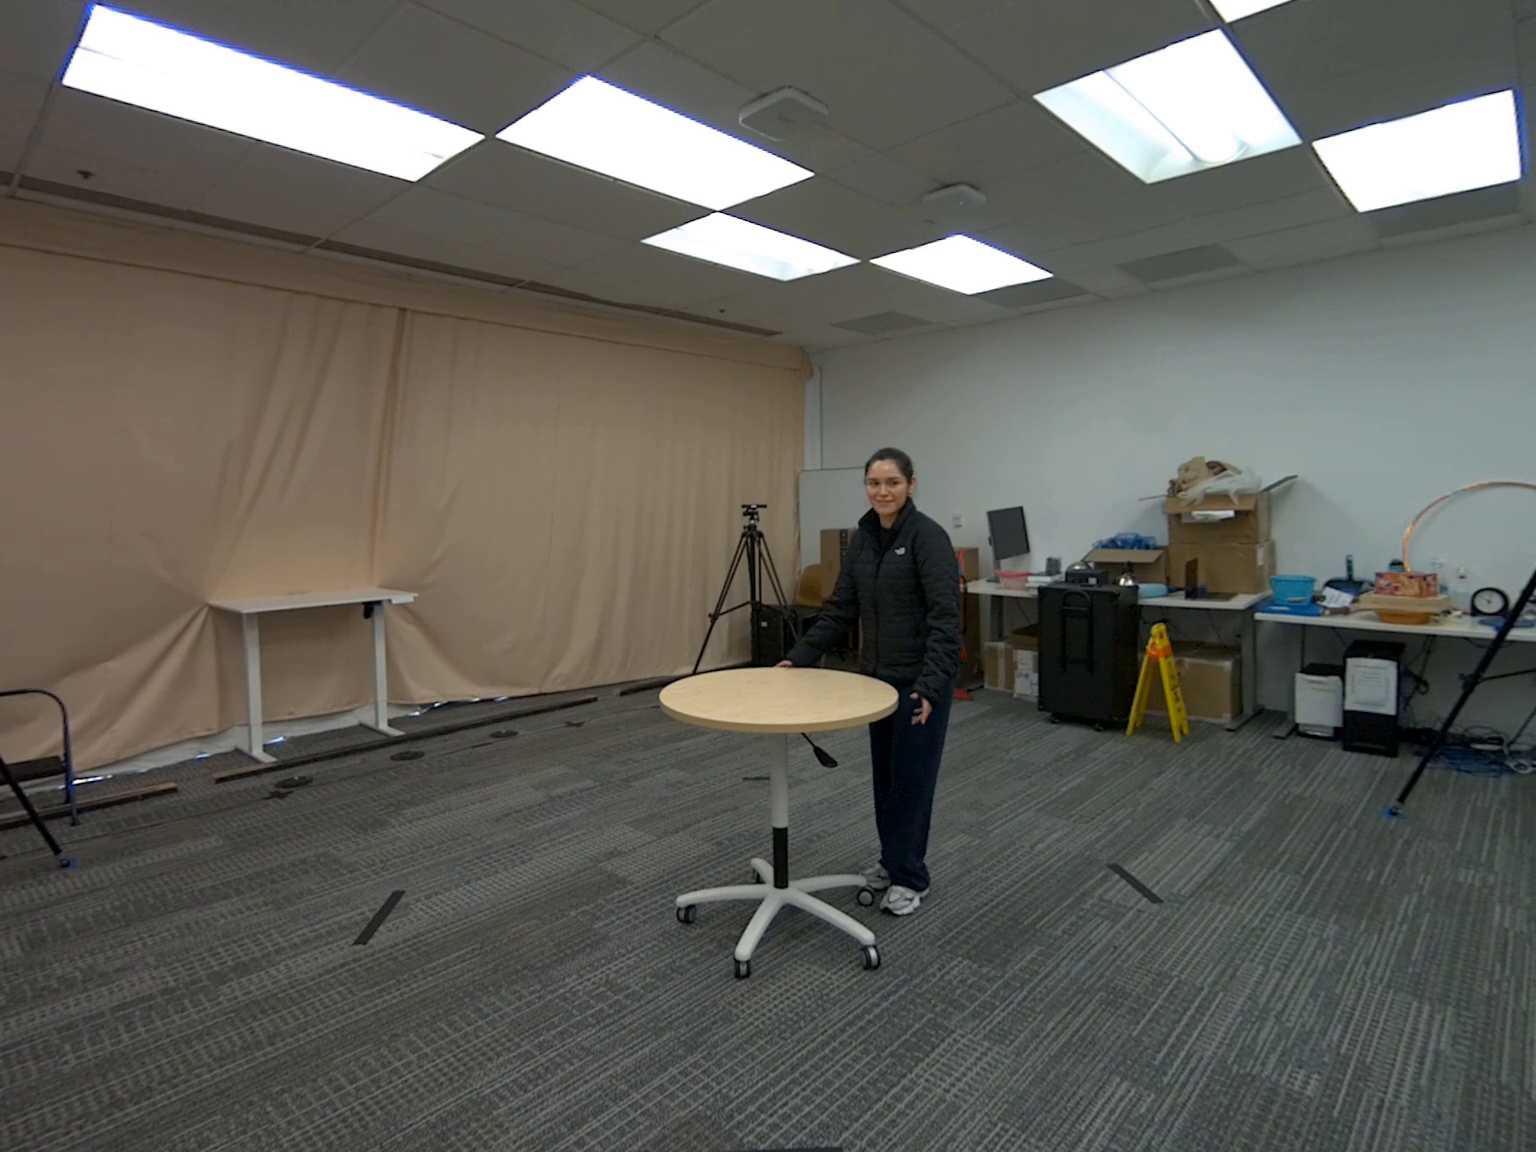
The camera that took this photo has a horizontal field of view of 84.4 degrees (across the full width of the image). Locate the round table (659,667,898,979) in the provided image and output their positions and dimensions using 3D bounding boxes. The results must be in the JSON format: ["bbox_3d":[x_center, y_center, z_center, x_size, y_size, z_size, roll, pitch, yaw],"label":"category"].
[{"bbox_3d":[0.070,0.766,2.753,0.784,0.784,0.788,-2,5,-2],"label":"round table"}]
